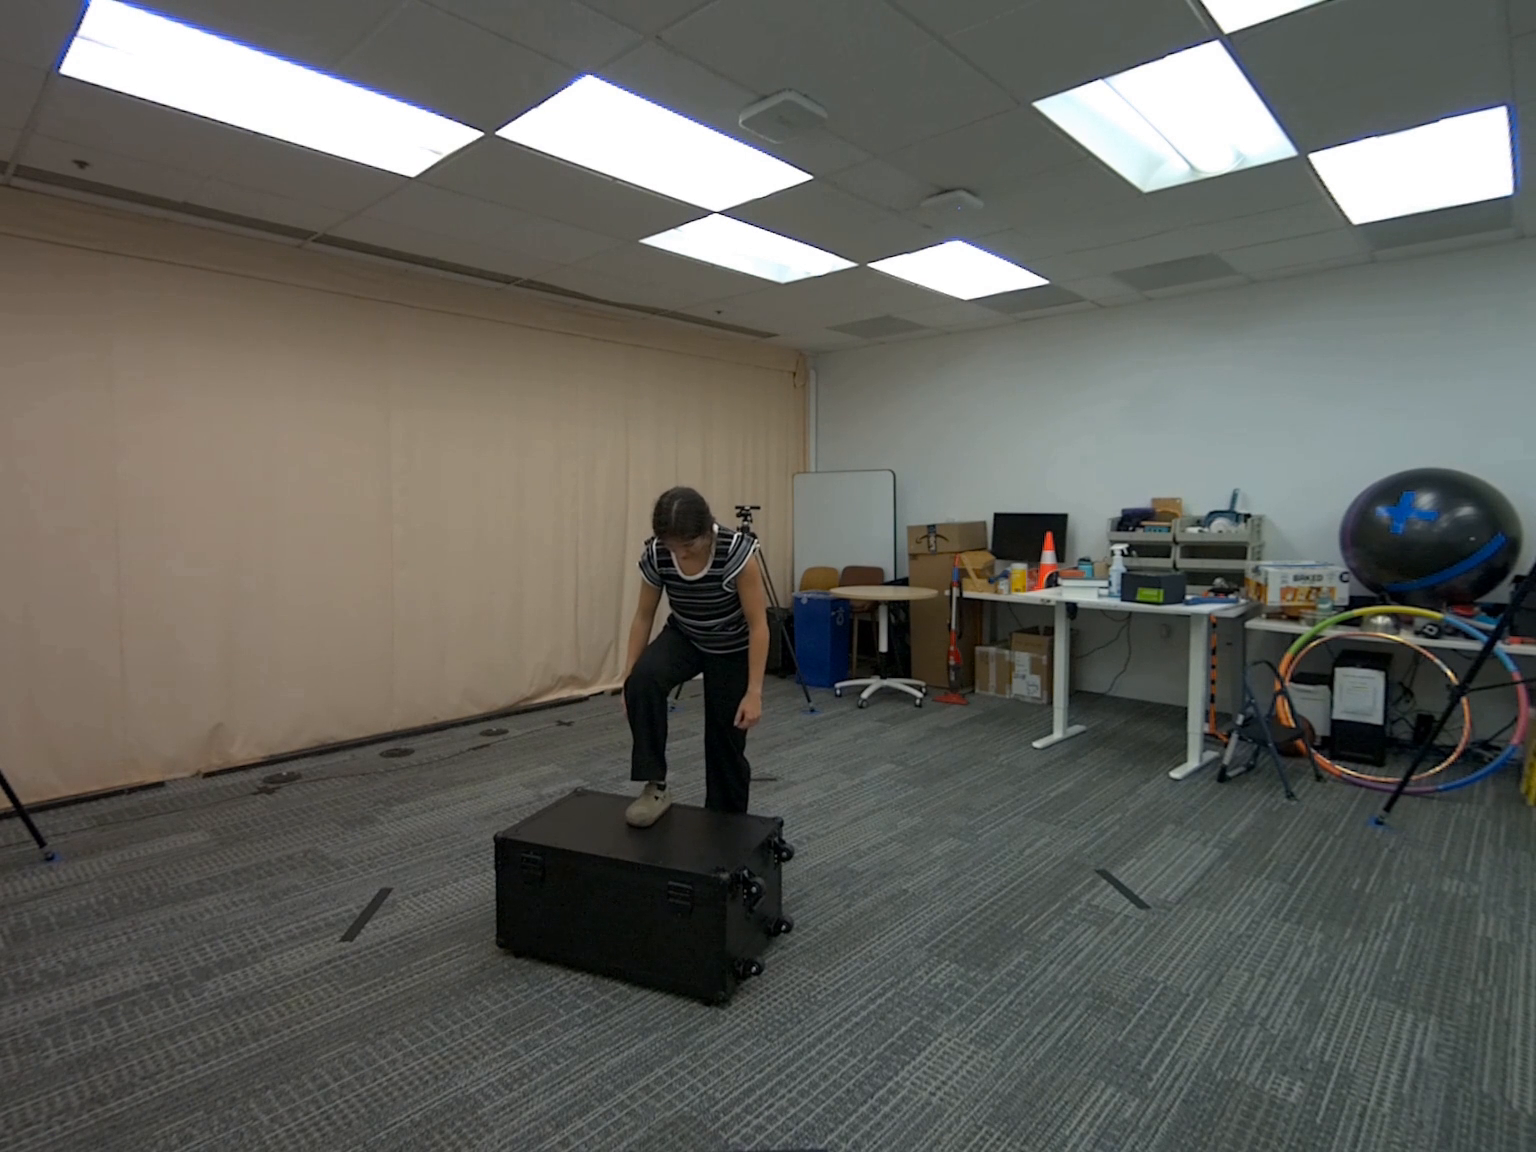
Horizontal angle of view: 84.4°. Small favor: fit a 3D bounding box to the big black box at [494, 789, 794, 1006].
[{"bbox_3d":[-0.367,0.984,2.665,0.882,0.395,0.510,1,3,22],"label":"big black box"}]
